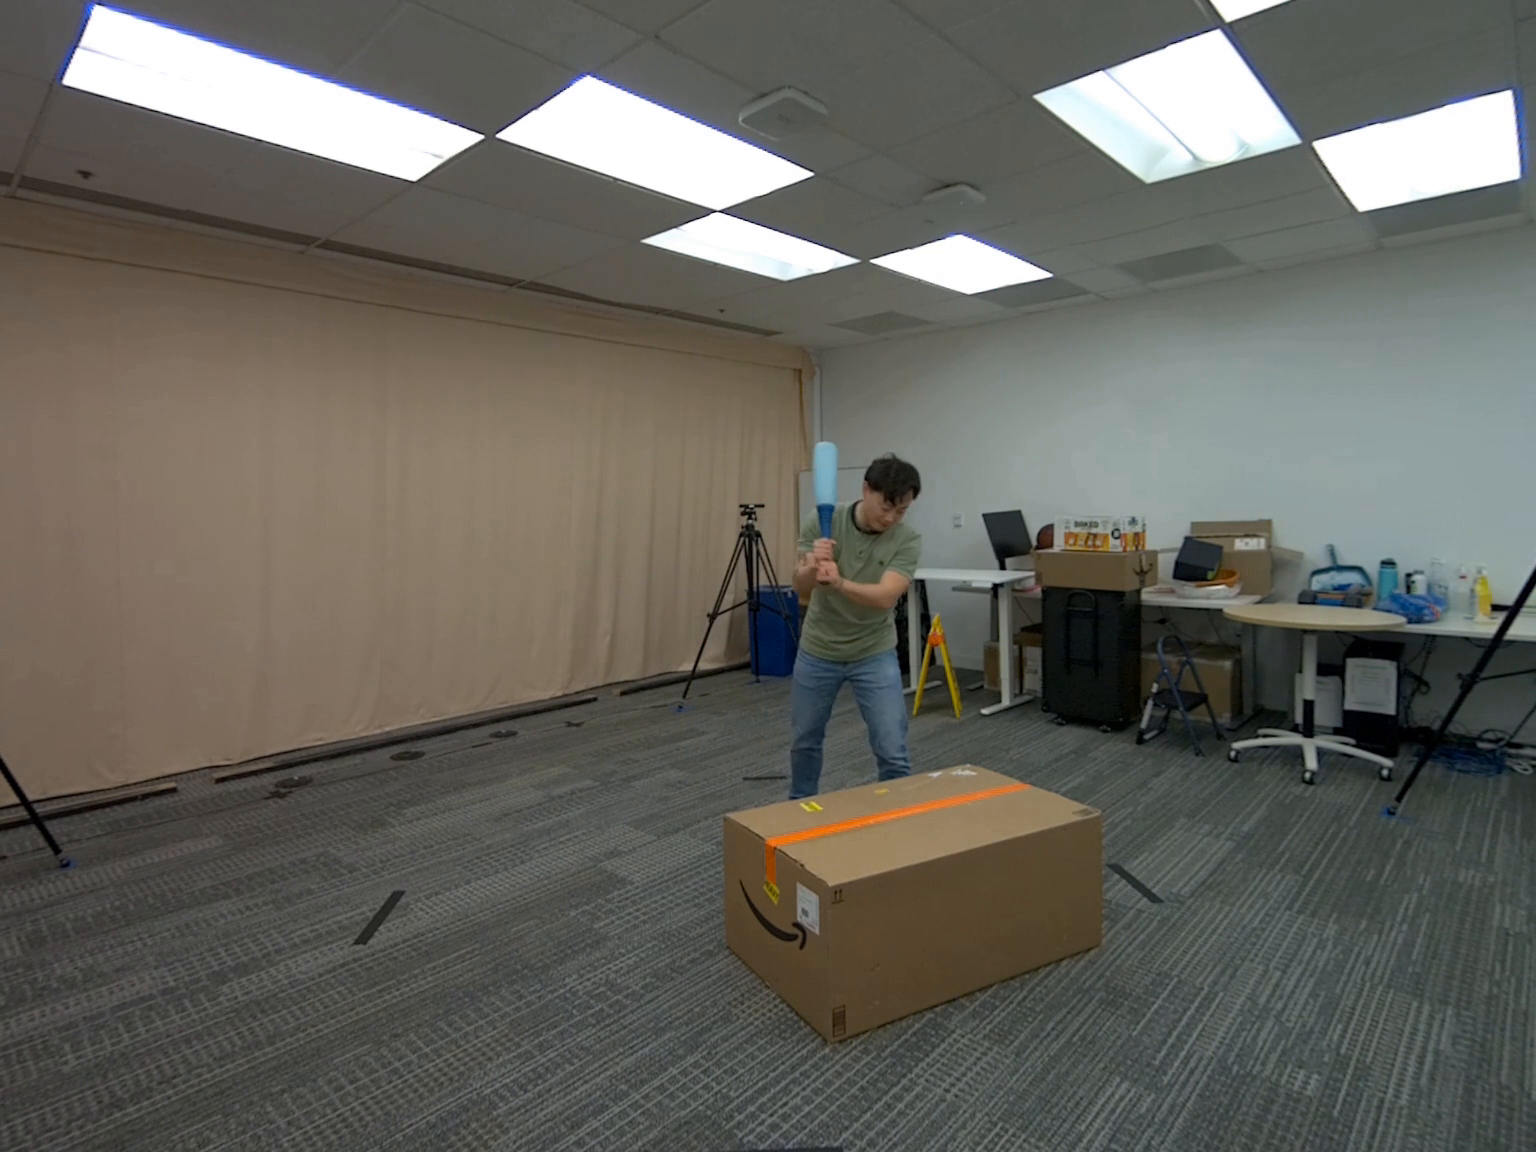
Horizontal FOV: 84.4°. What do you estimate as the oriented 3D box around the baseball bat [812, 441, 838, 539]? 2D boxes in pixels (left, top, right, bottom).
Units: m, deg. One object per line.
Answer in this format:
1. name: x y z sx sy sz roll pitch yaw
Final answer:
1. baseball bat: 0.228 -0.197 3.073 0.089 0.549 0.088 1 -18 -1
